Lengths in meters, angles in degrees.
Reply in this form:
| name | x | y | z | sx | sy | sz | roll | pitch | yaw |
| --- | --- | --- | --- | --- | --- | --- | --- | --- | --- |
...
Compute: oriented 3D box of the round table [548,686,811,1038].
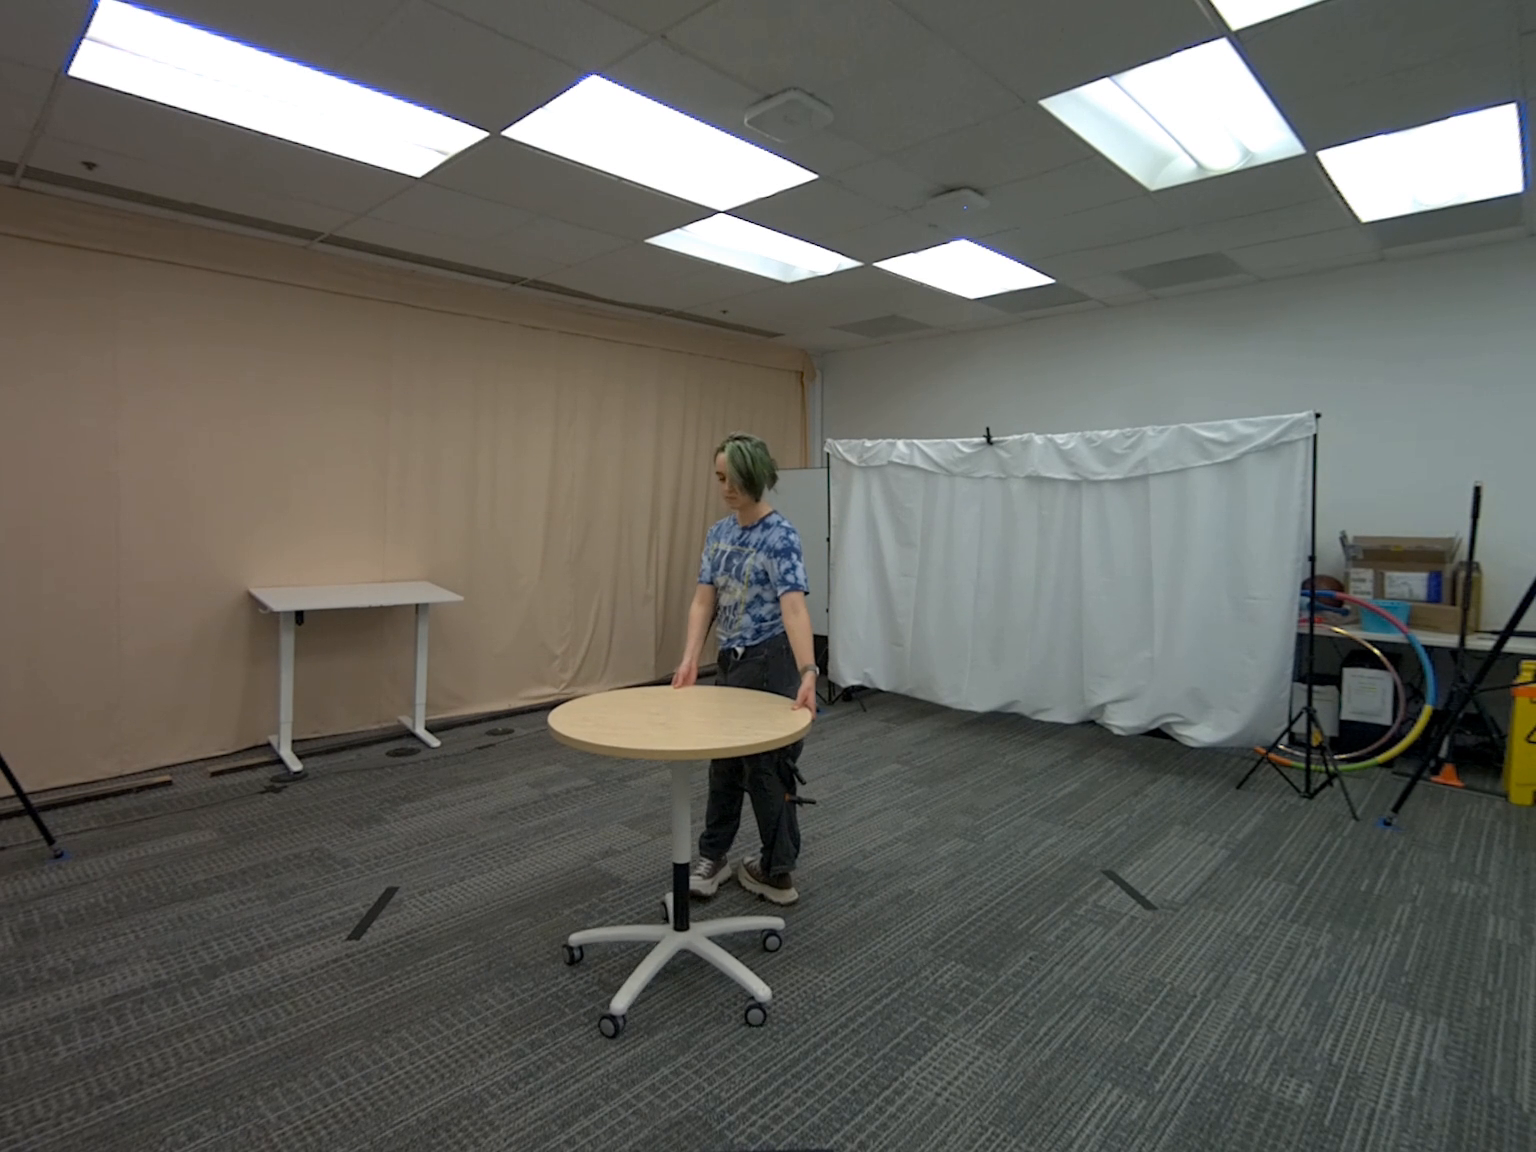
| name | x | y | z | sx | sy | sz | roll | pitch | yaw |
| --- | --- | --- | --- | --- | --- | --- | --- | --- | --- |
| round table | -0.260 | 0.796 | 2.490 | 0.763 | 0.792 | 0.767 | 0 | 4 | -2 |
